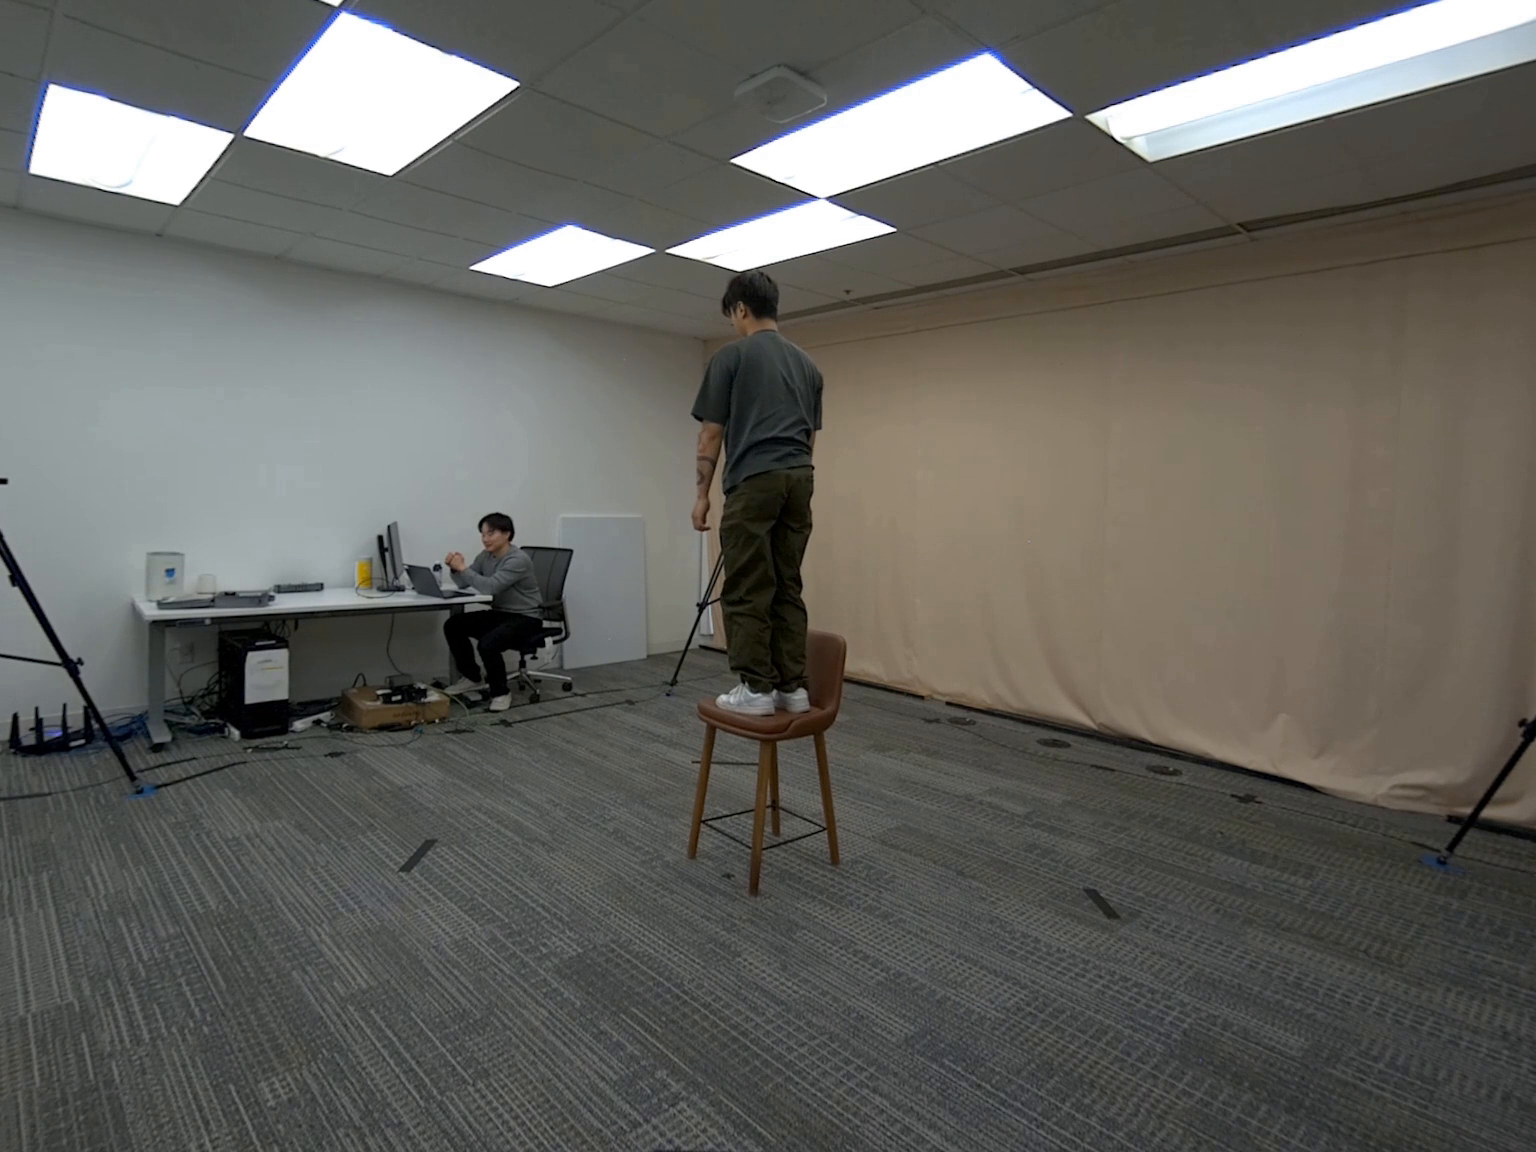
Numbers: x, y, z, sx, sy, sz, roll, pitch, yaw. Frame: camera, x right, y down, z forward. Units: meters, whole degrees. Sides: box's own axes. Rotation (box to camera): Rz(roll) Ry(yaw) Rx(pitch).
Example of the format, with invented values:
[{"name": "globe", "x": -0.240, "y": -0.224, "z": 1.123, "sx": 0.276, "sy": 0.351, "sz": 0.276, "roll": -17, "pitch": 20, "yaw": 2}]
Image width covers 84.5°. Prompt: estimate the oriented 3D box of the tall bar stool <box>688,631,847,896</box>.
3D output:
[{"name": "tall bar stool", "x": -0.004, "y": 0.663, "z": 3.220, "sx": 0.456, "sy": 0.888, "sz": 0.468, "roll": 1, "pitch": 3, "yaw": -39}]
